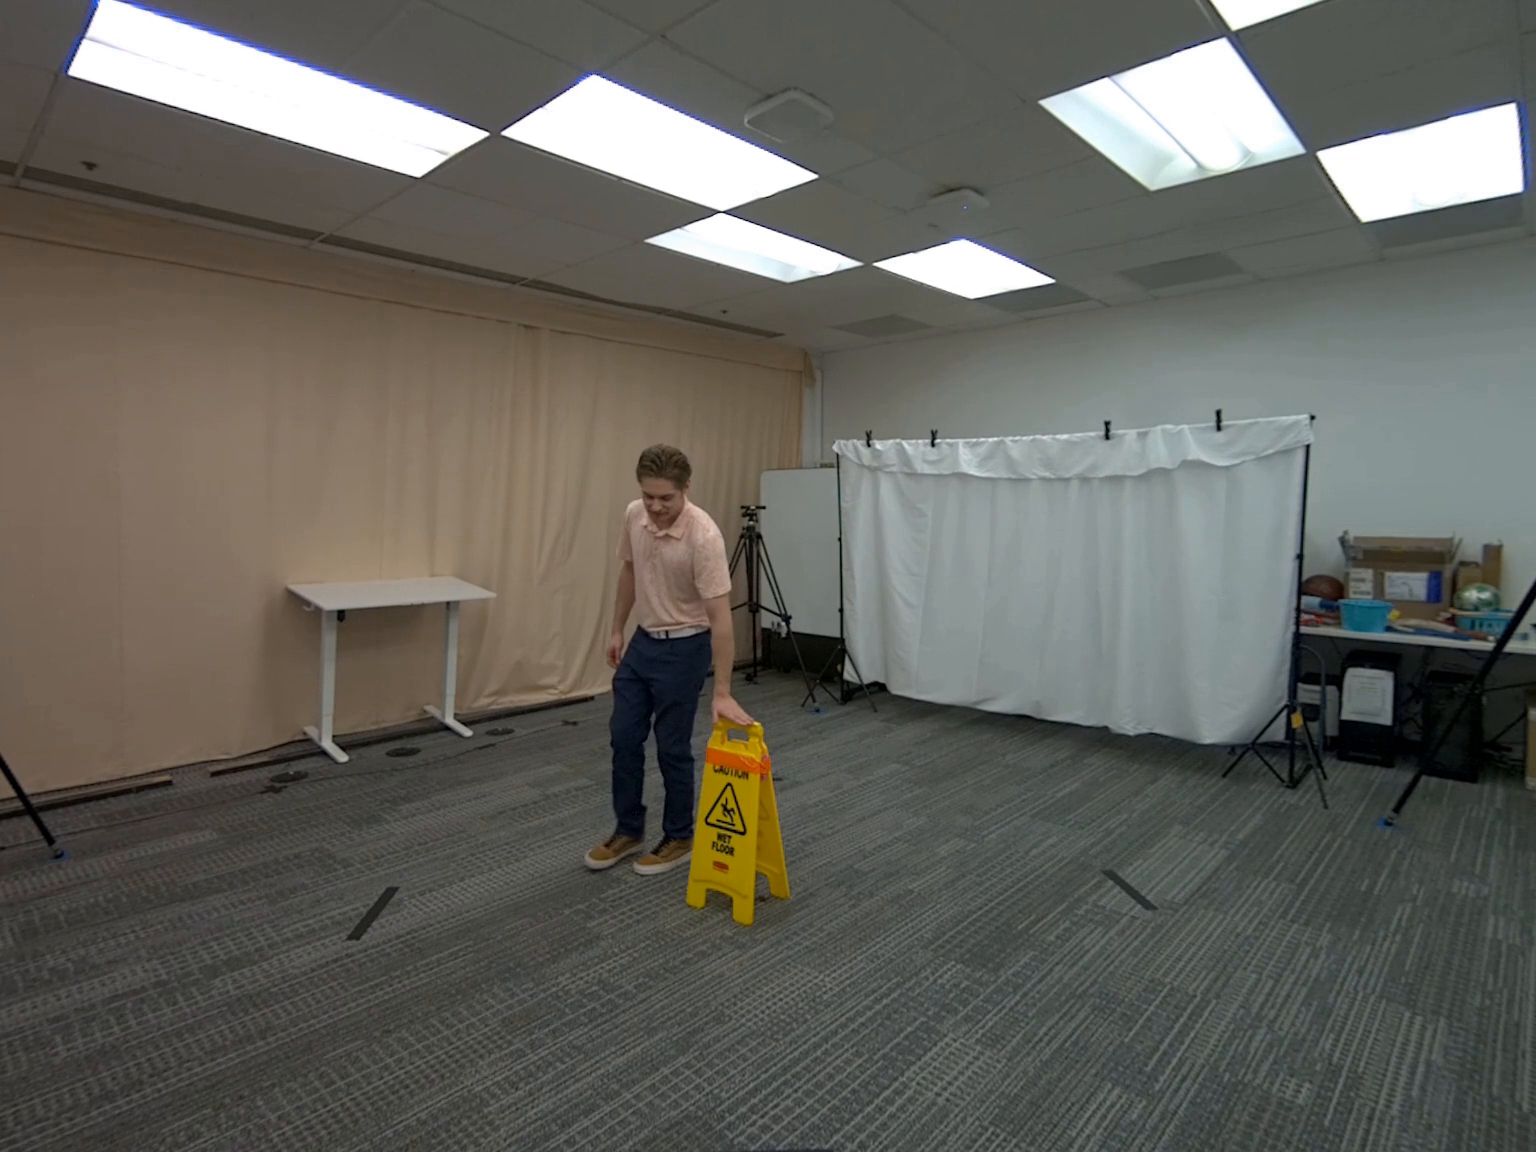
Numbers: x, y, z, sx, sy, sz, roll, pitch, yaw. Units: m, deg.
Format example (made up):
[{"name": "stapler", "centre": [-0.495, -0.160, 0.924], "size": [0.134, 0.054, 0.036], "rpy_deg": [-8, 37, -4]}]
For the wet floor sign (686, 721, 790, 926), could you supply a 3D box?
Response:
[{"name": "wet floor sign", "centre": [-0.100, 0.822, 2.954], "size": [0.291, 0.645, 0.281], "rpy_deg": [3, 4, 35]}]
